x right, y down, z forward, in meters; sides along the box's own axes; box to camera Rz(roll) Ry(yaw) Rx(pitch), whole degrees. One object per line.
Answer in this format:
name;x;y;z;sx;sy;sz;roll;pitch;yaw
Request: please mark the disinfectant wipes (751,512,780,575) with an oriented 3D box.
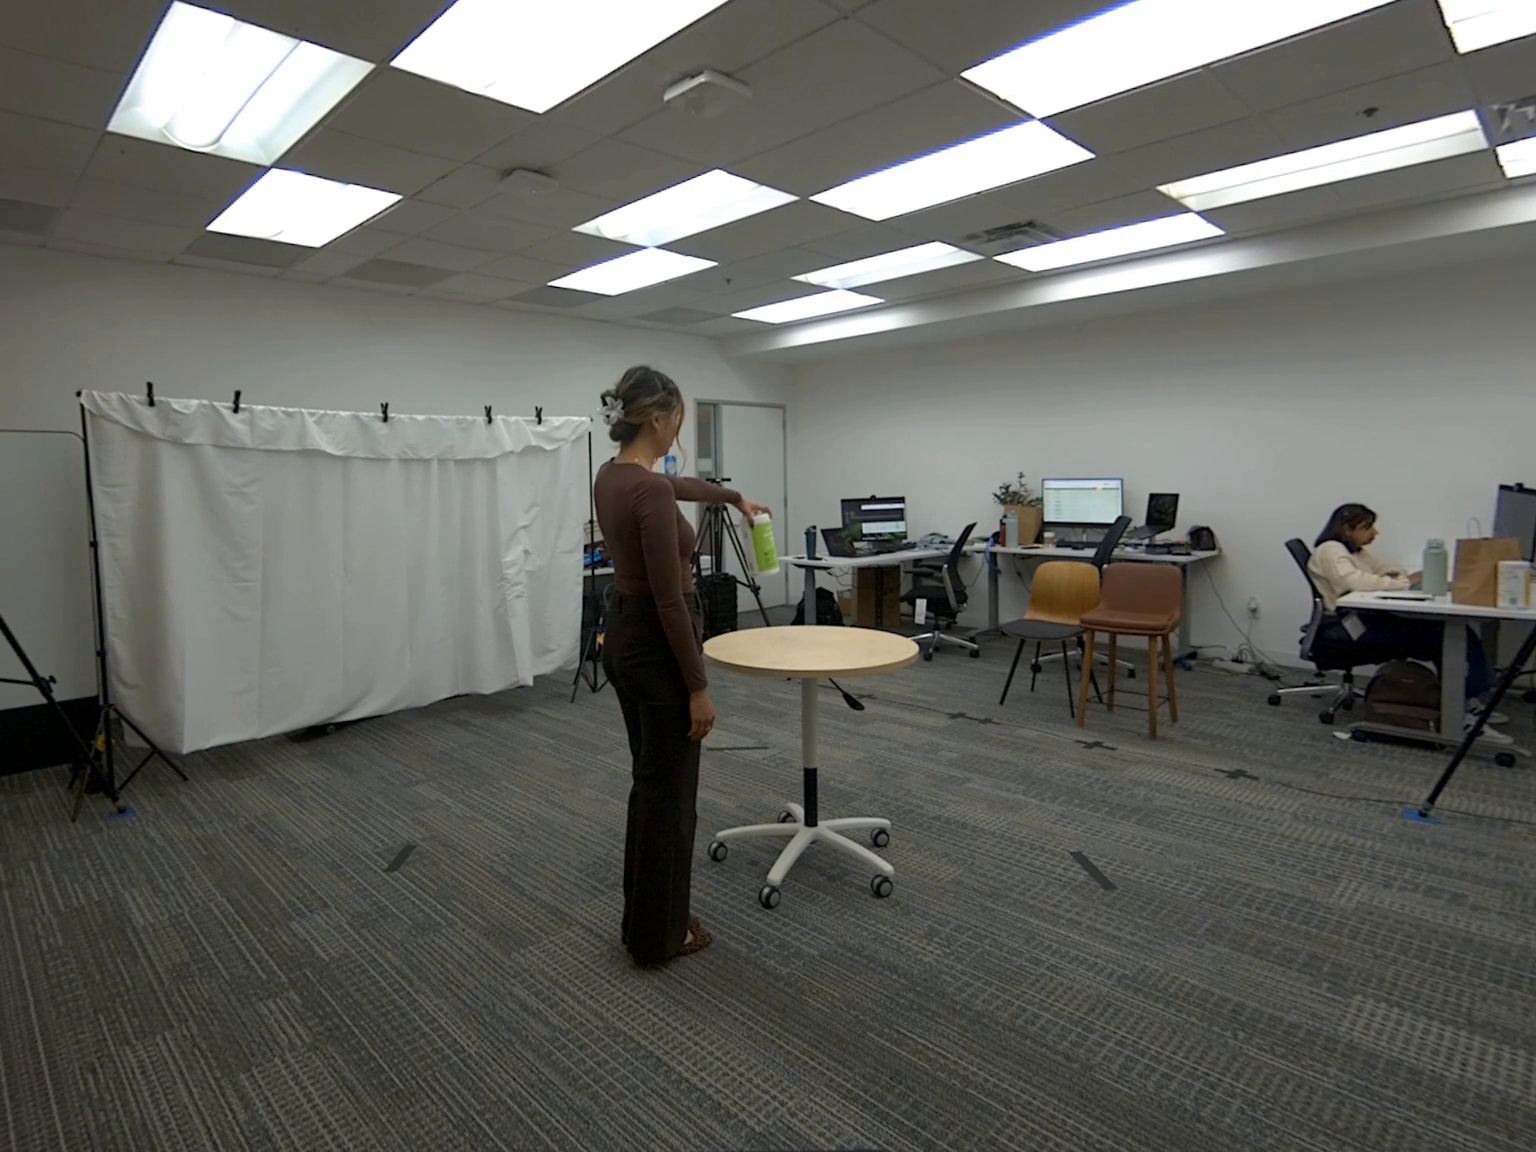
disinfectant wipes;-0.033;-0.103;3.032;0.118;0.216;0.118;-10;7;0
